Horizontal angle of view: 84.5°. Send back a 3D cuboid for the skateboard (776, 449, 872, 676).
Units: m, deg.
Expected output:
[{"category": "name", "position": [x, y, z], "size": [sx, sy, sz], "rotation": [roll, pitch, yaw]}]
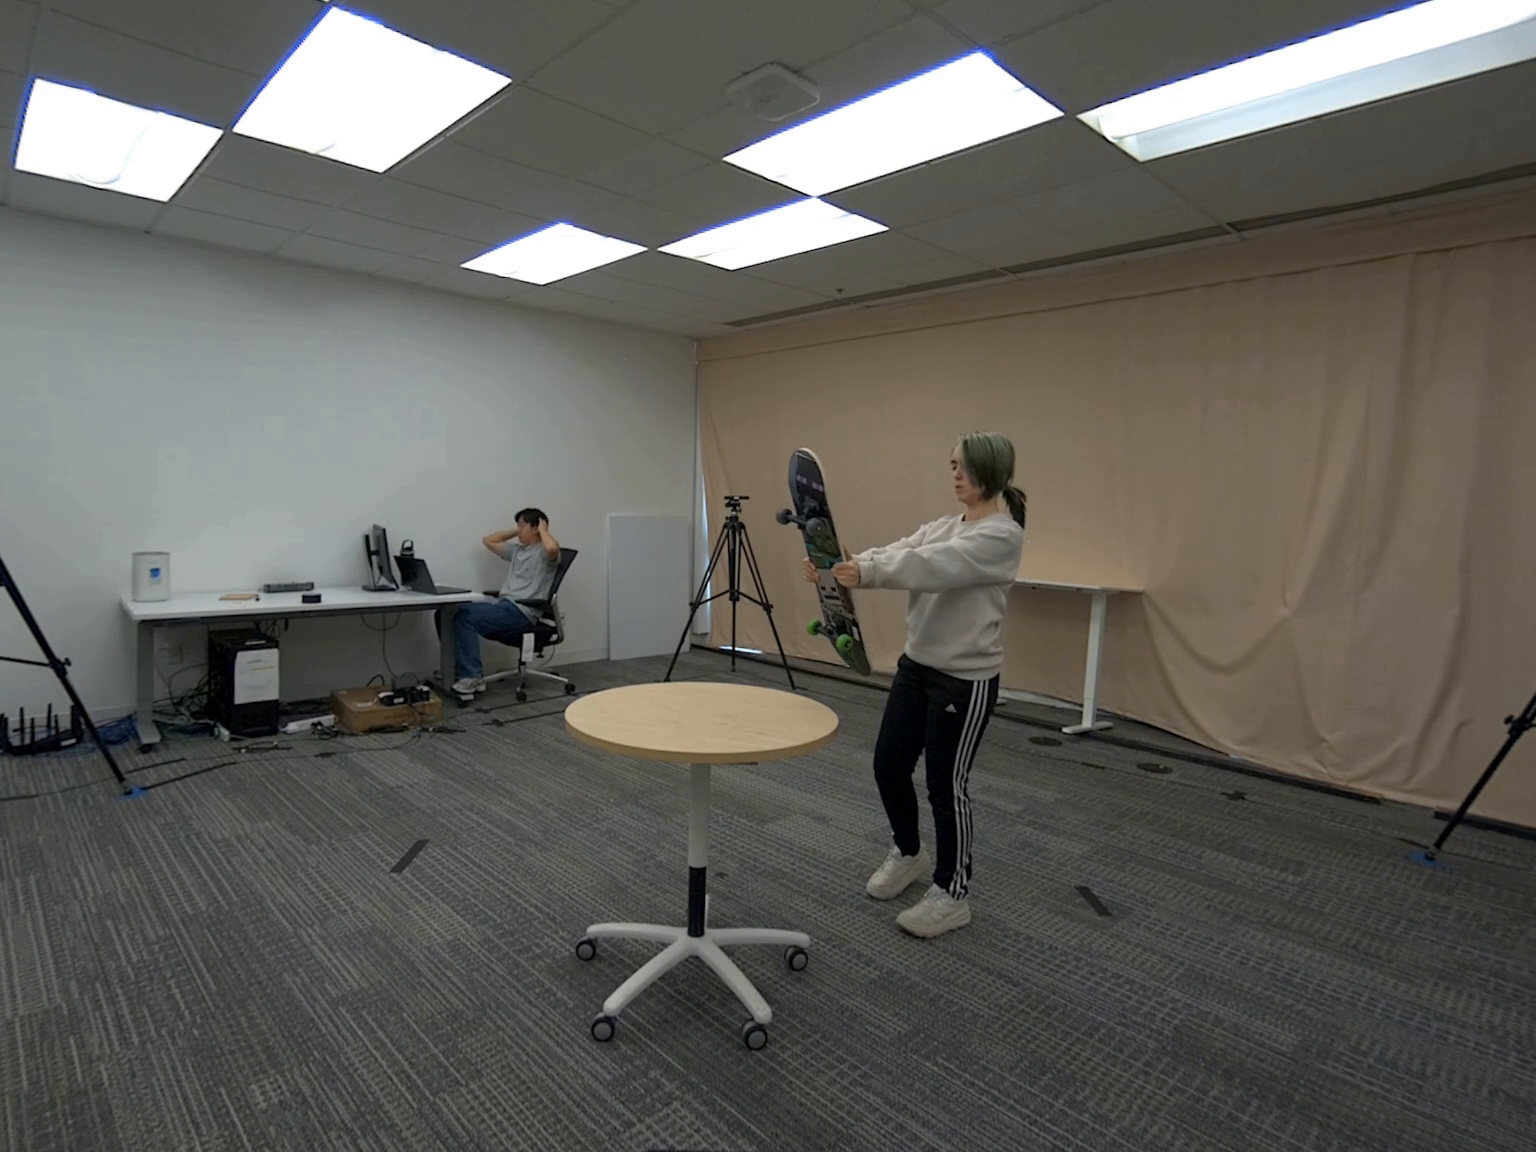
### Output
[{"category": "skateboard", "position": [0.160, -0.001, 2.544], "size": [0.109, 0.769, 0.199], "rotation": [-27, 26, -23]}]
